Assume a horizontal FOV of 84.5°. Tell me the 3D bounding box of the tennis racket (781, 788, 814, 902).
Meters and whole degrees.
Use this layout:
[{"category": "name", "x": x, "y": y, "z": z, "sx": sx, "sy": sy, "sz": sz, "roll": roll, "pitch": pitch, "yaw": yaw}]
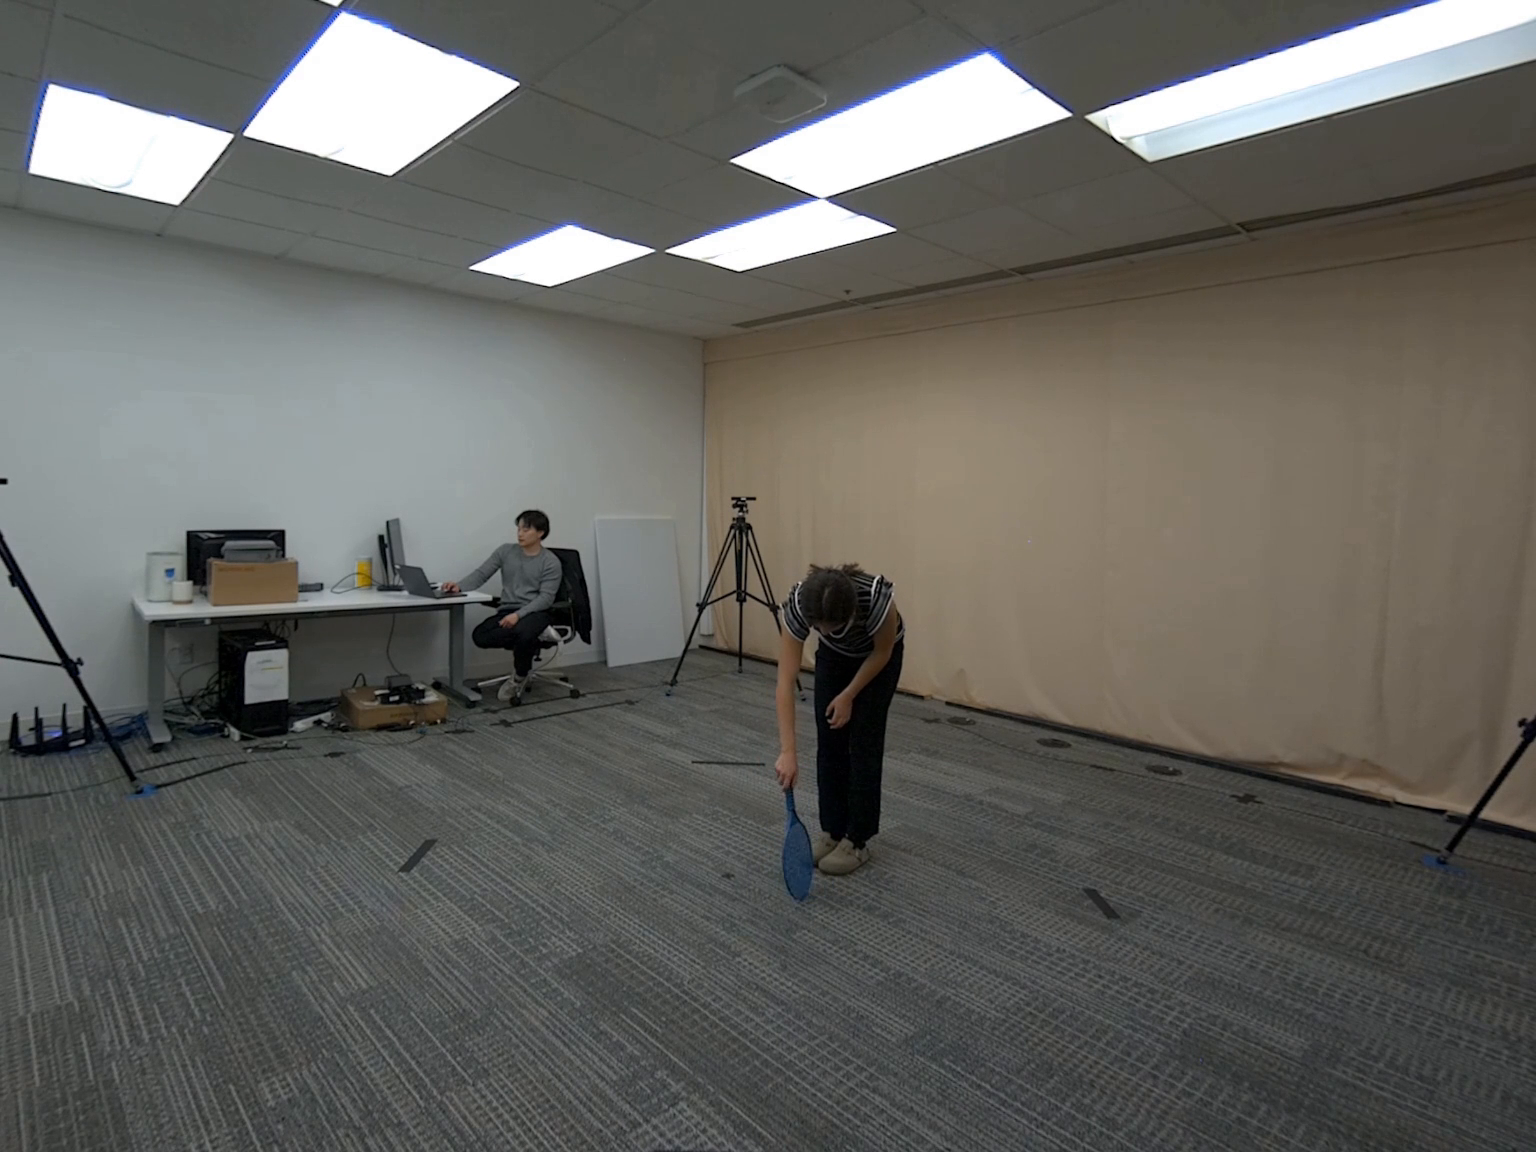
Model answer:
[{"category": "tennis racket", "x": 0.097, "y": 0.910, "z": 2.953, "sx": 0.031, "sy": 0.433, "sz": 0.216, "roll": -7, "pitch": -2, "yaw": -24}]
